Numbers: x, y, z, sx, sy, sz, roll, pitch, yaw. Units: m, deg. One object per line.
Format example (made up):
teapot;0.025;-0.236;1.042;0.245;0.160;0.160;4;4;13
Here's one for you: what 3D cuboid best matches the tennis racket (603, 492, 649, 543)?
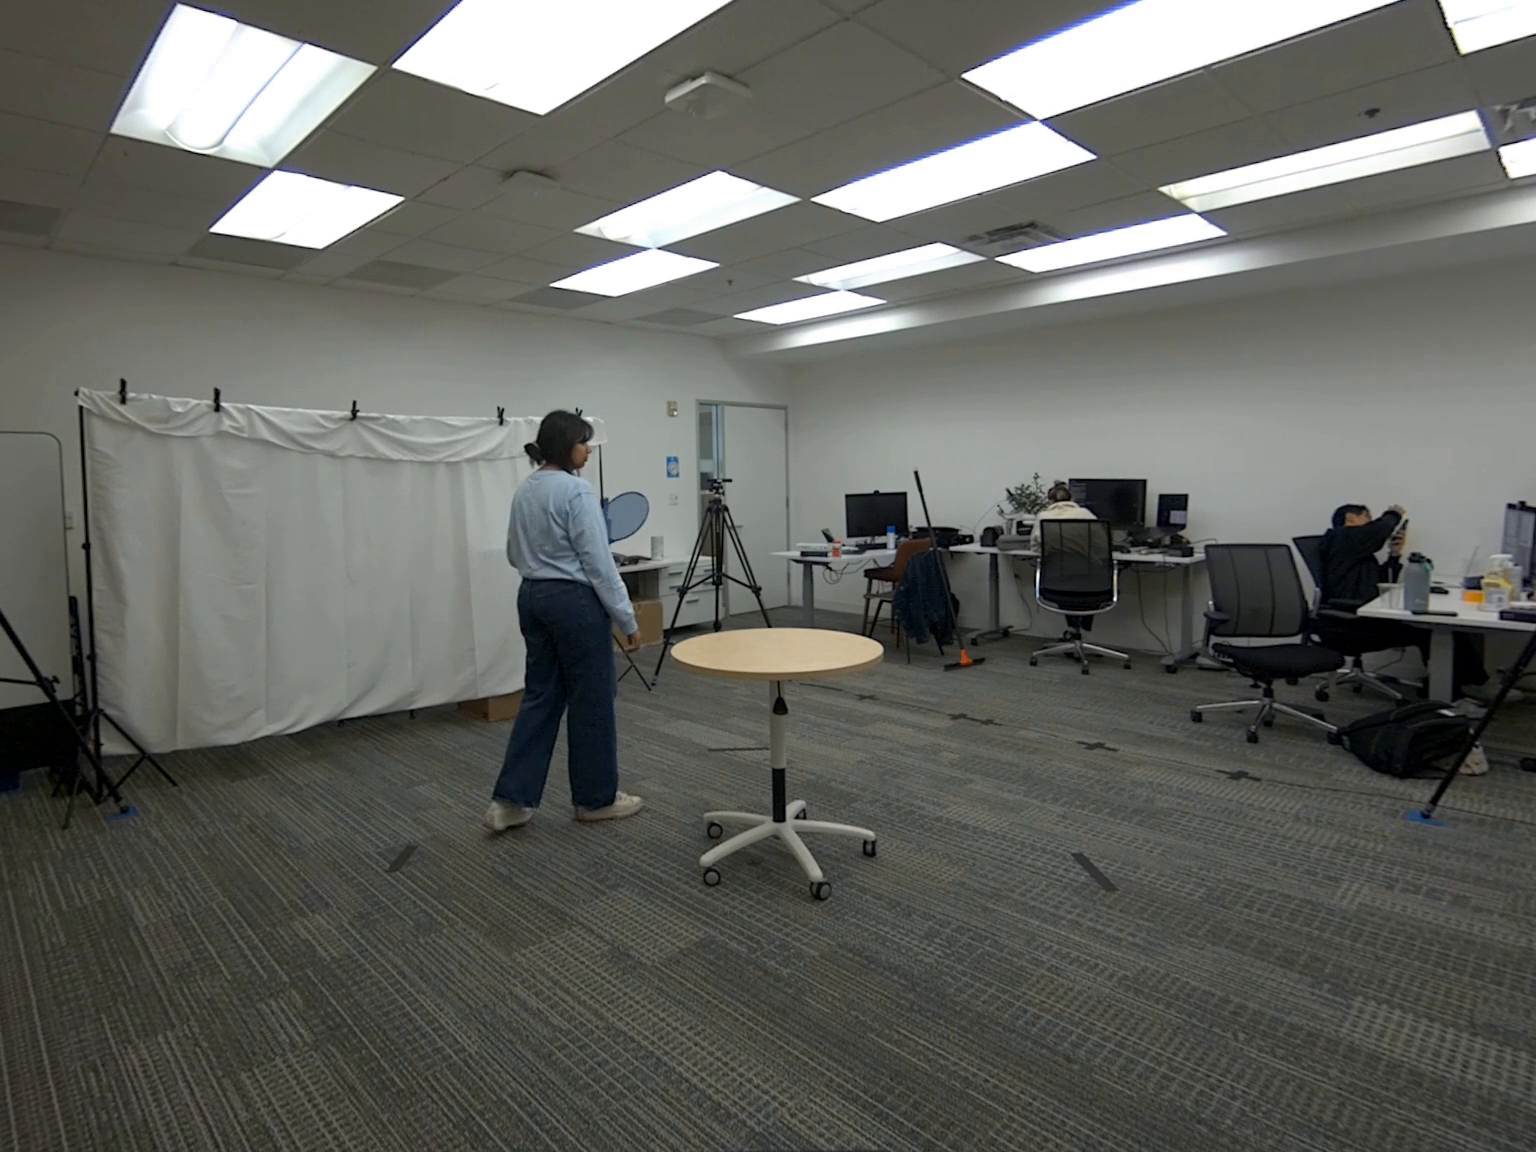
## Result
tennis racket;-0.692;-0.199;3.767;0.219;0.435;0.031;24;-22;22
